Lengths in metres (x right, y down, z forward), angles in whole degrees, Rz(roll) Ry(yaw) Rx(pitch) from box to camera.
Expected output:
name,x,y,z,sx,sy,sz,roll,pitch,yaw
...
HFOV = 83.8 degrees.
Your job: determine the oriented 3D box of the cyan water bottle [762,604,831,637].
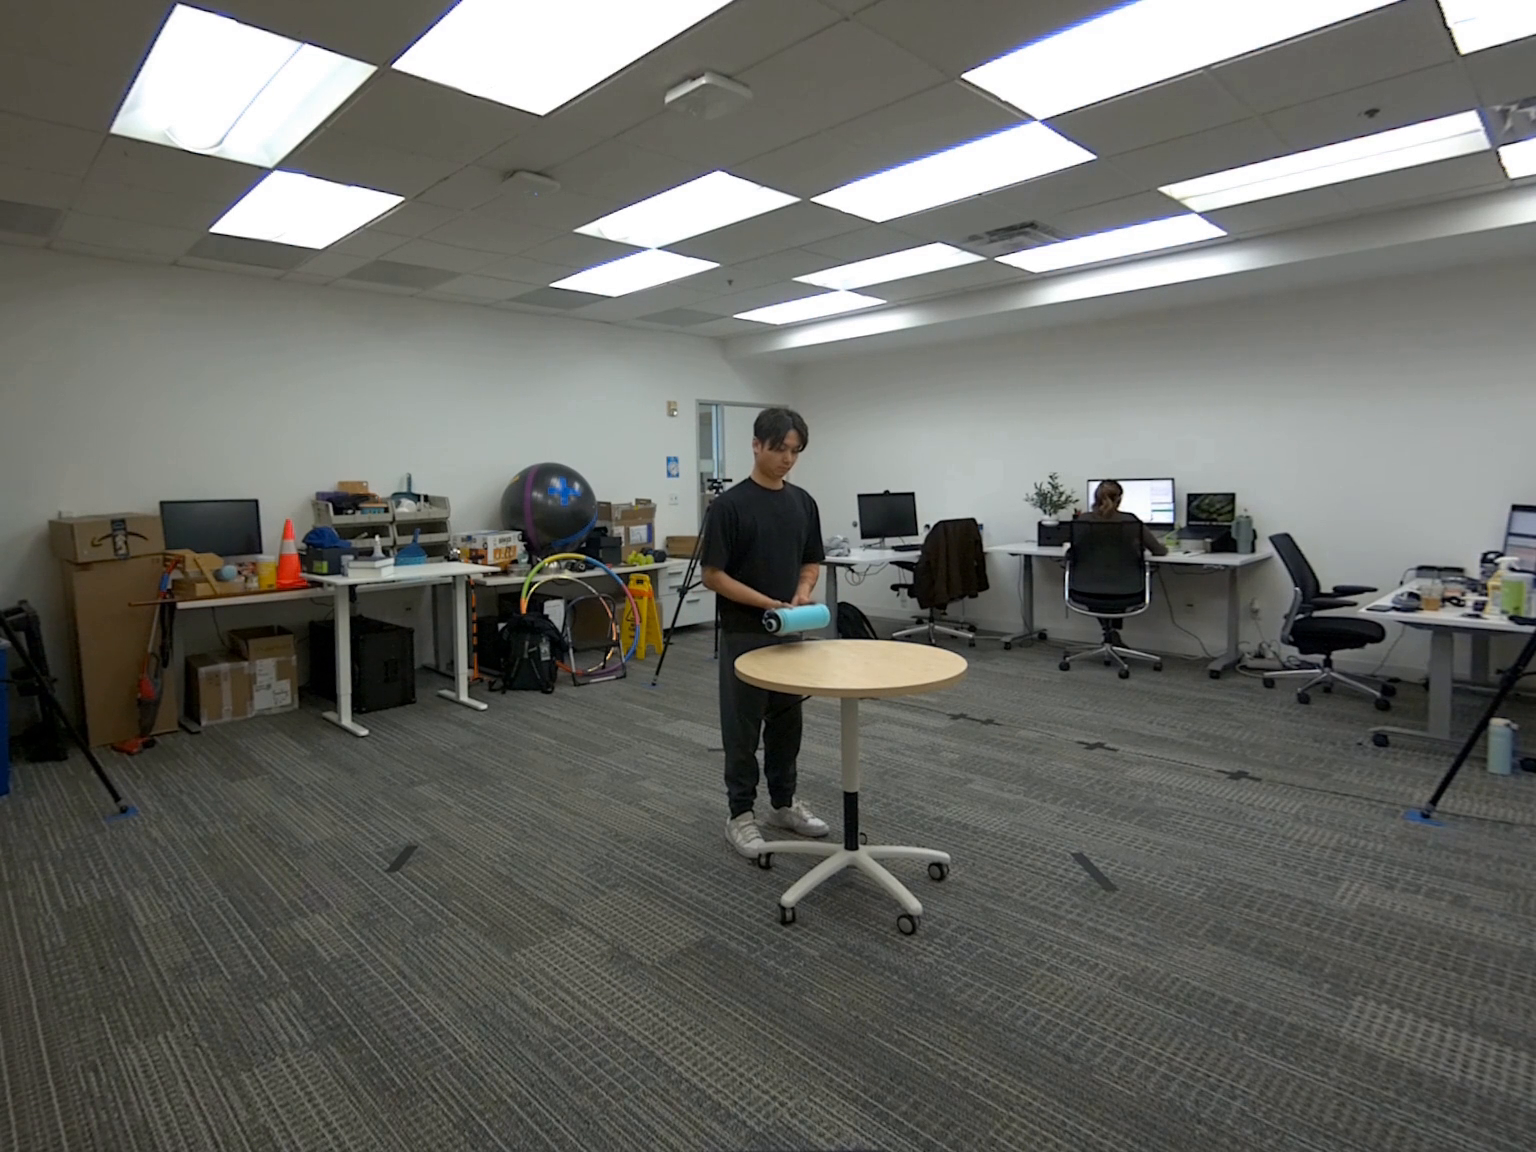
name,x,y,z,sx,sy,sz,roll,pitch,yaw
cyan water bottle,0.106,0.156,3.077,0.276,0.092,0.095,-3,5,-40
